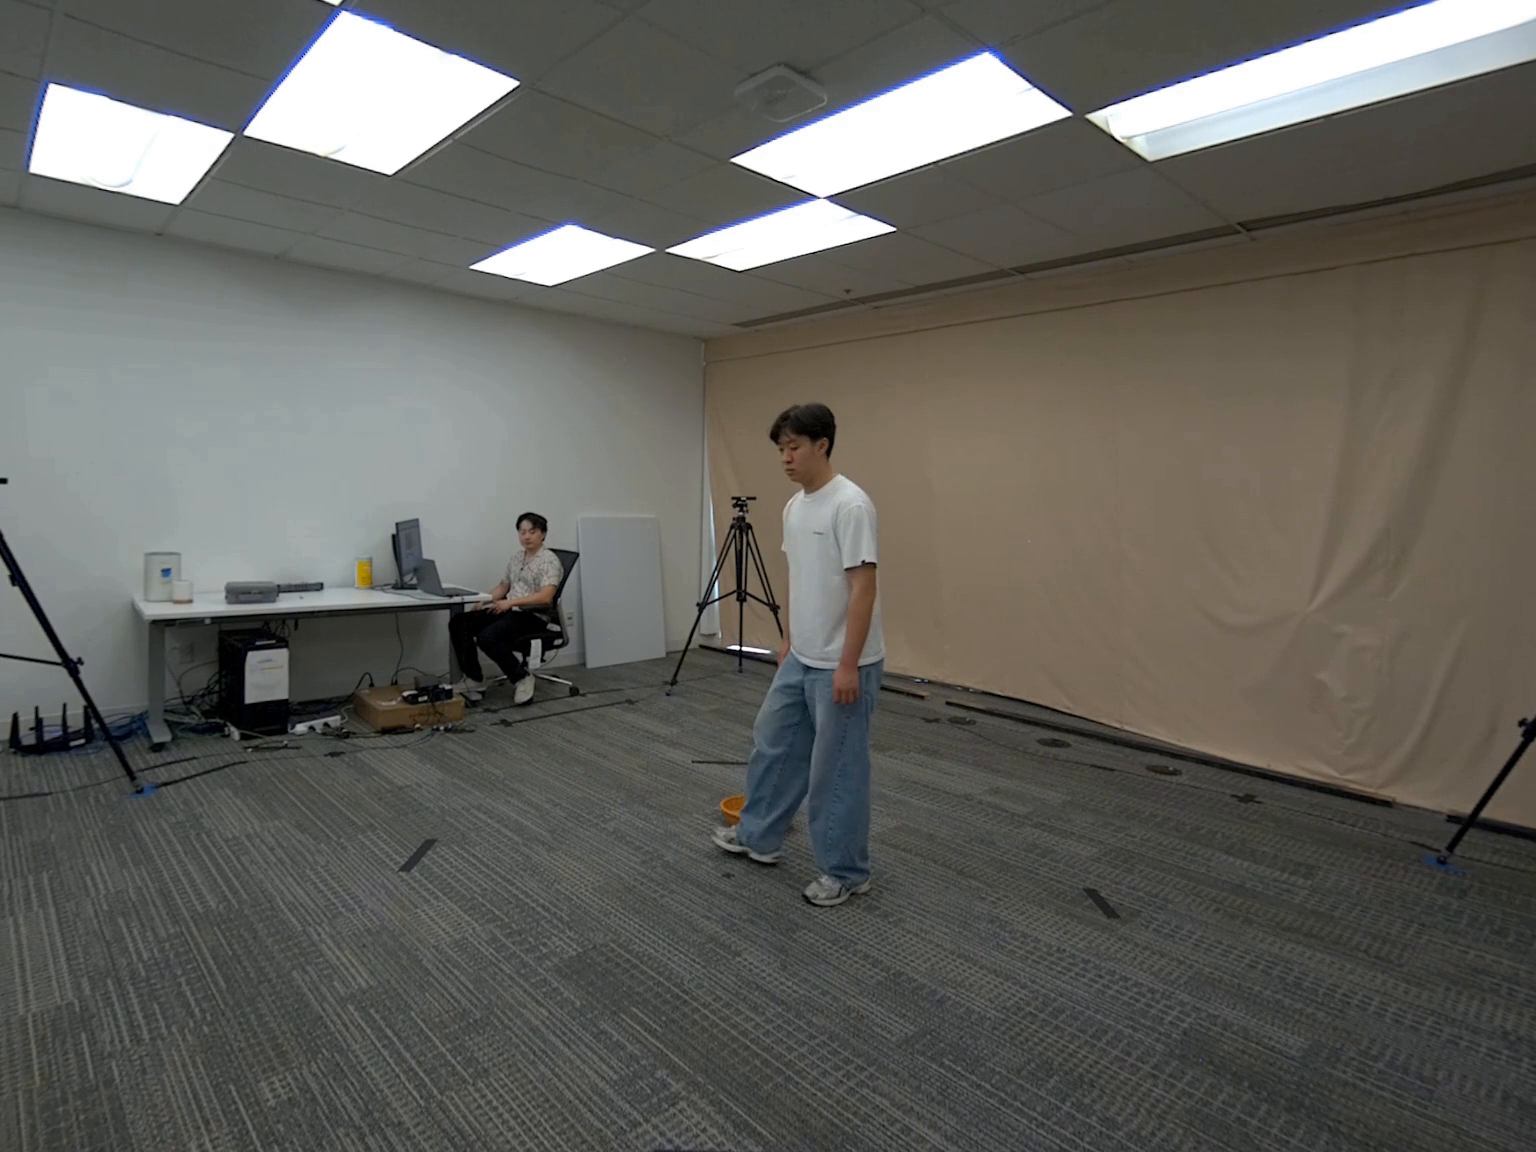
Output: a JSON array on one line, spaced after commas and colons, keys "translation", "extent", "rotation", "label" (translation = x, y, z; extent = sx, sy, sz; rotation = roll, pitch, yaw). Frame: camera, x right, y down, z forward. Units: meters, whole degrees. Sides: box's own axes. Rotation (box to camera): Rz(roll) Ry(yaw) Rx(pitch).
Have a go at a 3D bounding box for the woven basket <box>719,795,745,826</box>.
[{"translation": [-0.059, 1.028, 3.608], "extent": [0.359, 0.073, 0.247], "rotation": [5, 6, 40], "label": "woven basket"}]
